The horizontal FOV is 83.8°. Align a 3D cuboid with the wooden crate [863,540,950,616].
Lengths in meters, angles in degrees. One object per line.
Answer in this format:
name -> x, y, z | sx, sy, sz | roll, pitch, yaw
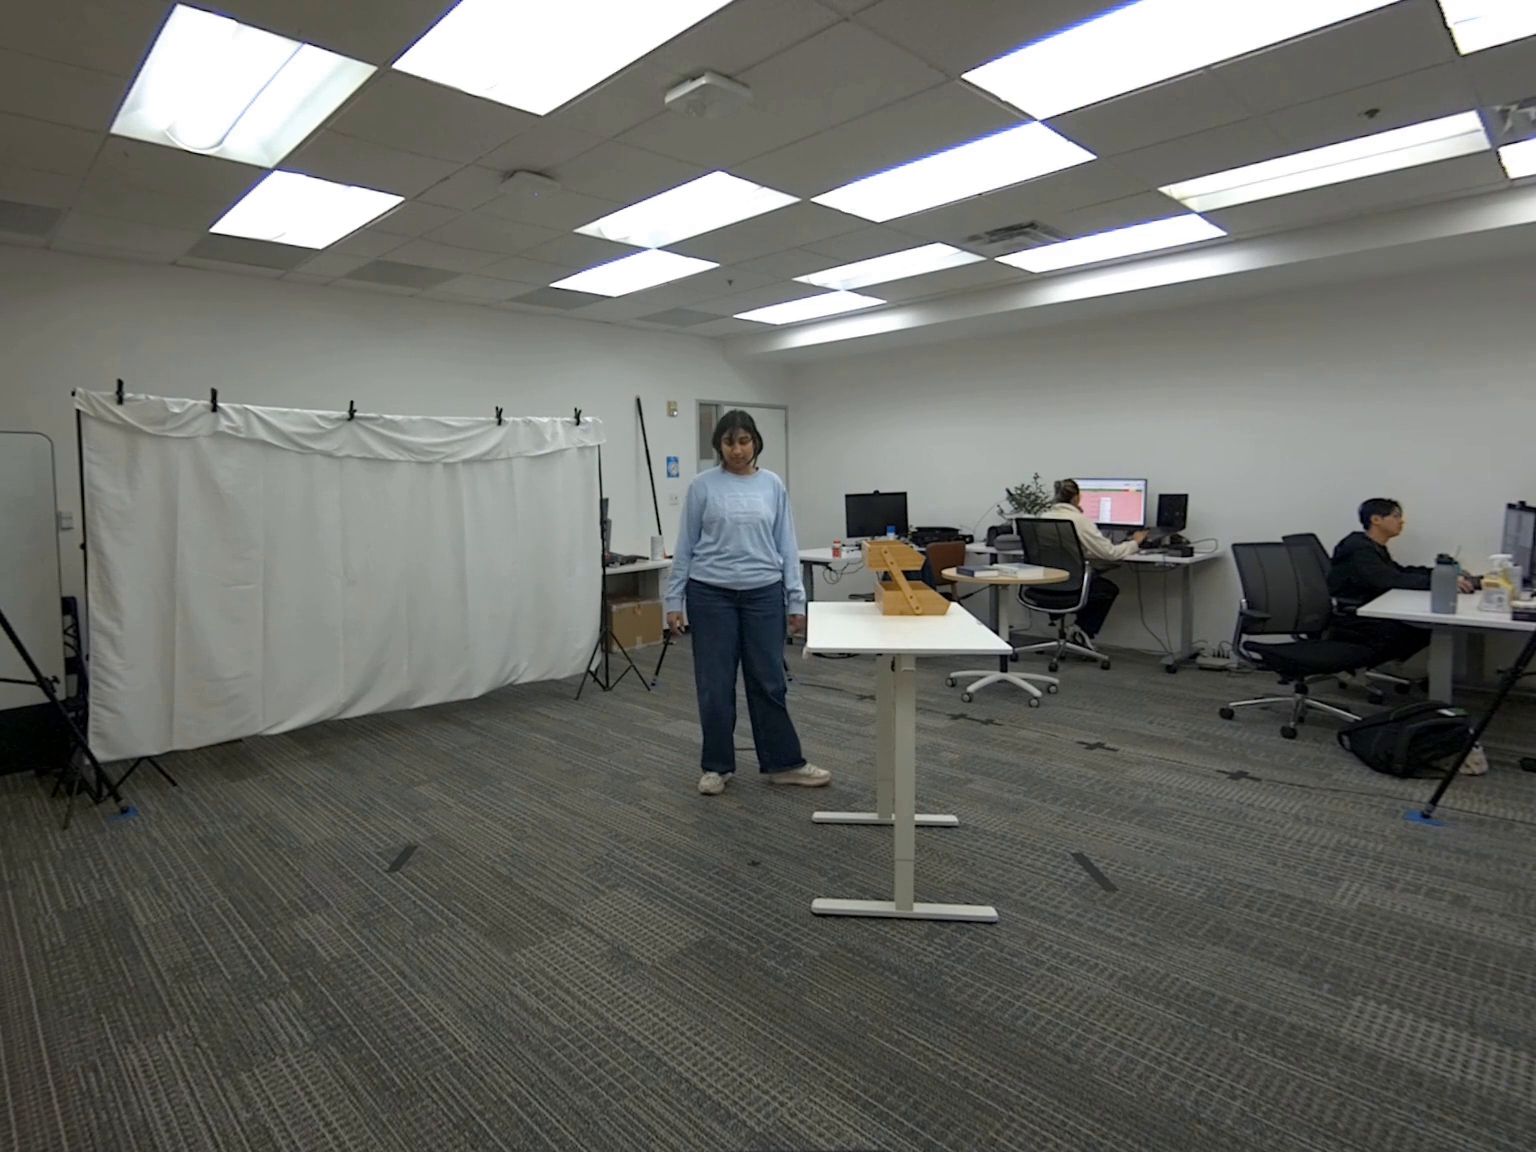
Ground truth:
wooden crate -> 0.535, -0.005, 3.319 | 0.303, 0.272, 0.325 | -2, 5, 2
